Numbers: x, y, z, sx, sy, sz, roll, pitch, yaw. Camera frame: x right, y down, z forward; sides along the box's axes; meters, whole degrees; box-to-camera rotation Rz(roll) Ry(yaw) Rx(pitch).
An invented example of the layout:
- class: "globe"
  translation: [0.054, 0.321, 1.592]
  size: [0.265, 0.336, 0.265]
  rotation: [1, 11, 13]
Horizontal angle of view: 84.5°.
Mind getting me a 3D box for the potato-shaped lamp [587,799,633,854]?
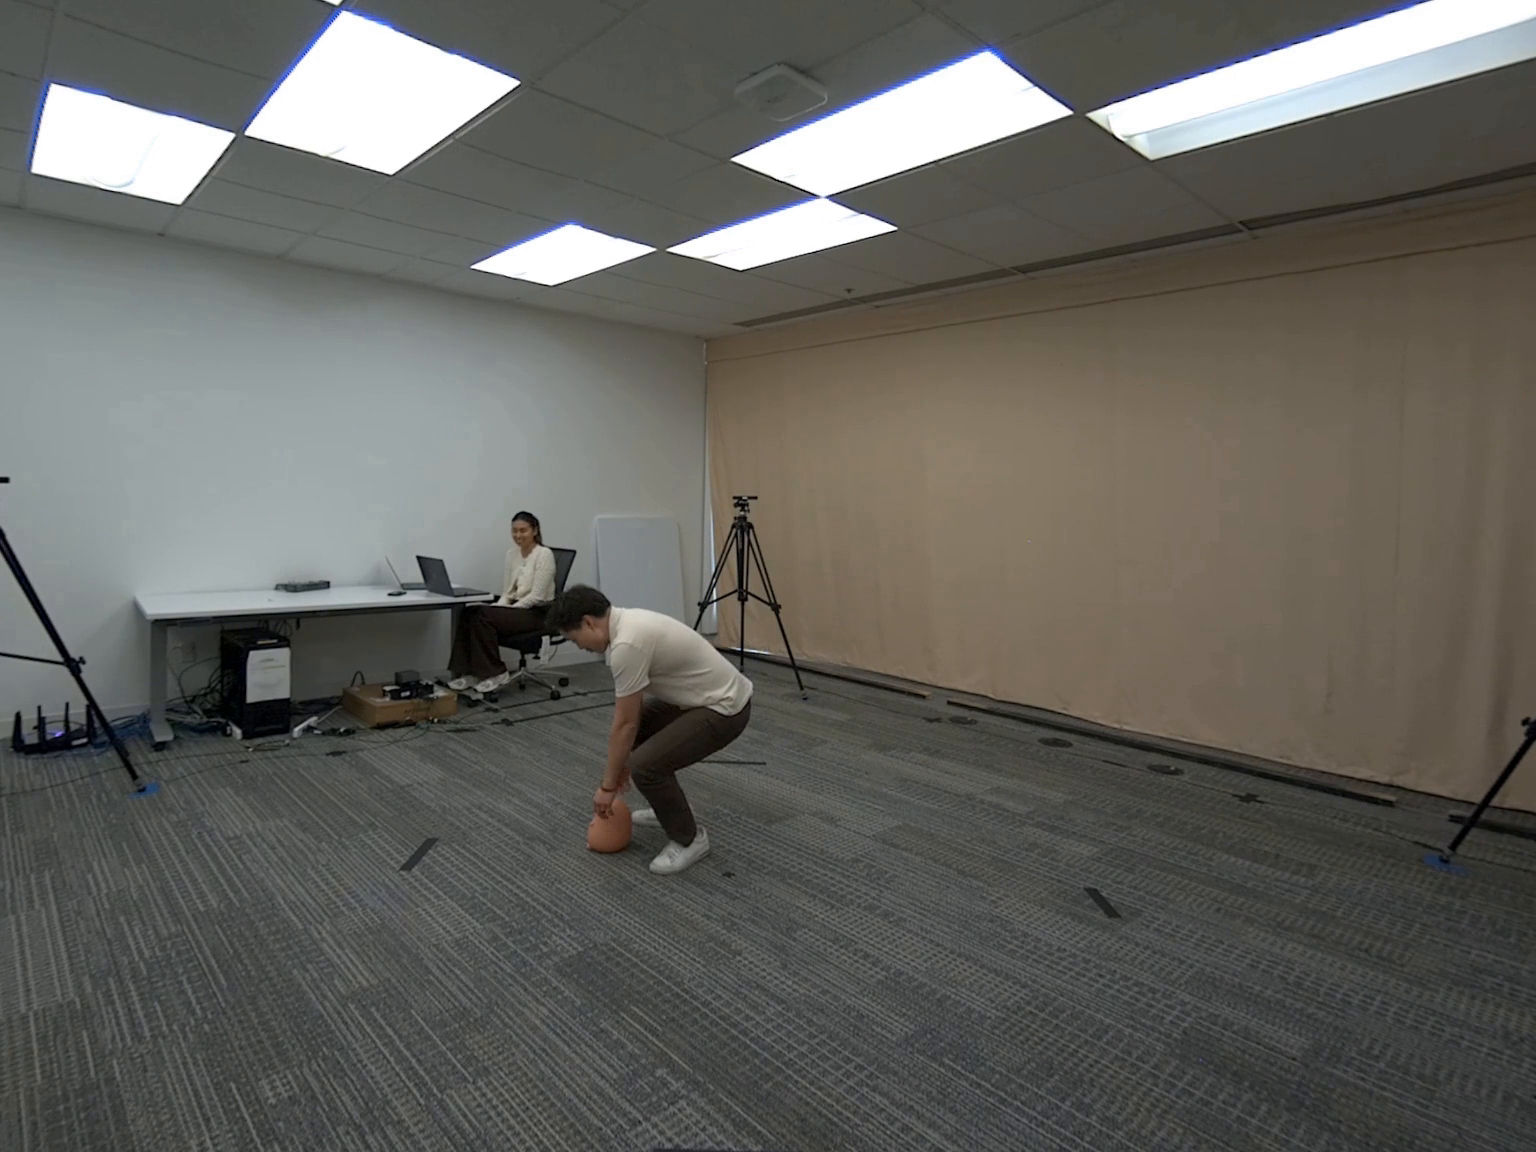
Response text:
- class: "potato-shaped lamp"
  translation: [-0.636, 0.977, 3.313]
  size: [0.173, 0.197, 0.163]
  rotation: [3, 4, 12]
